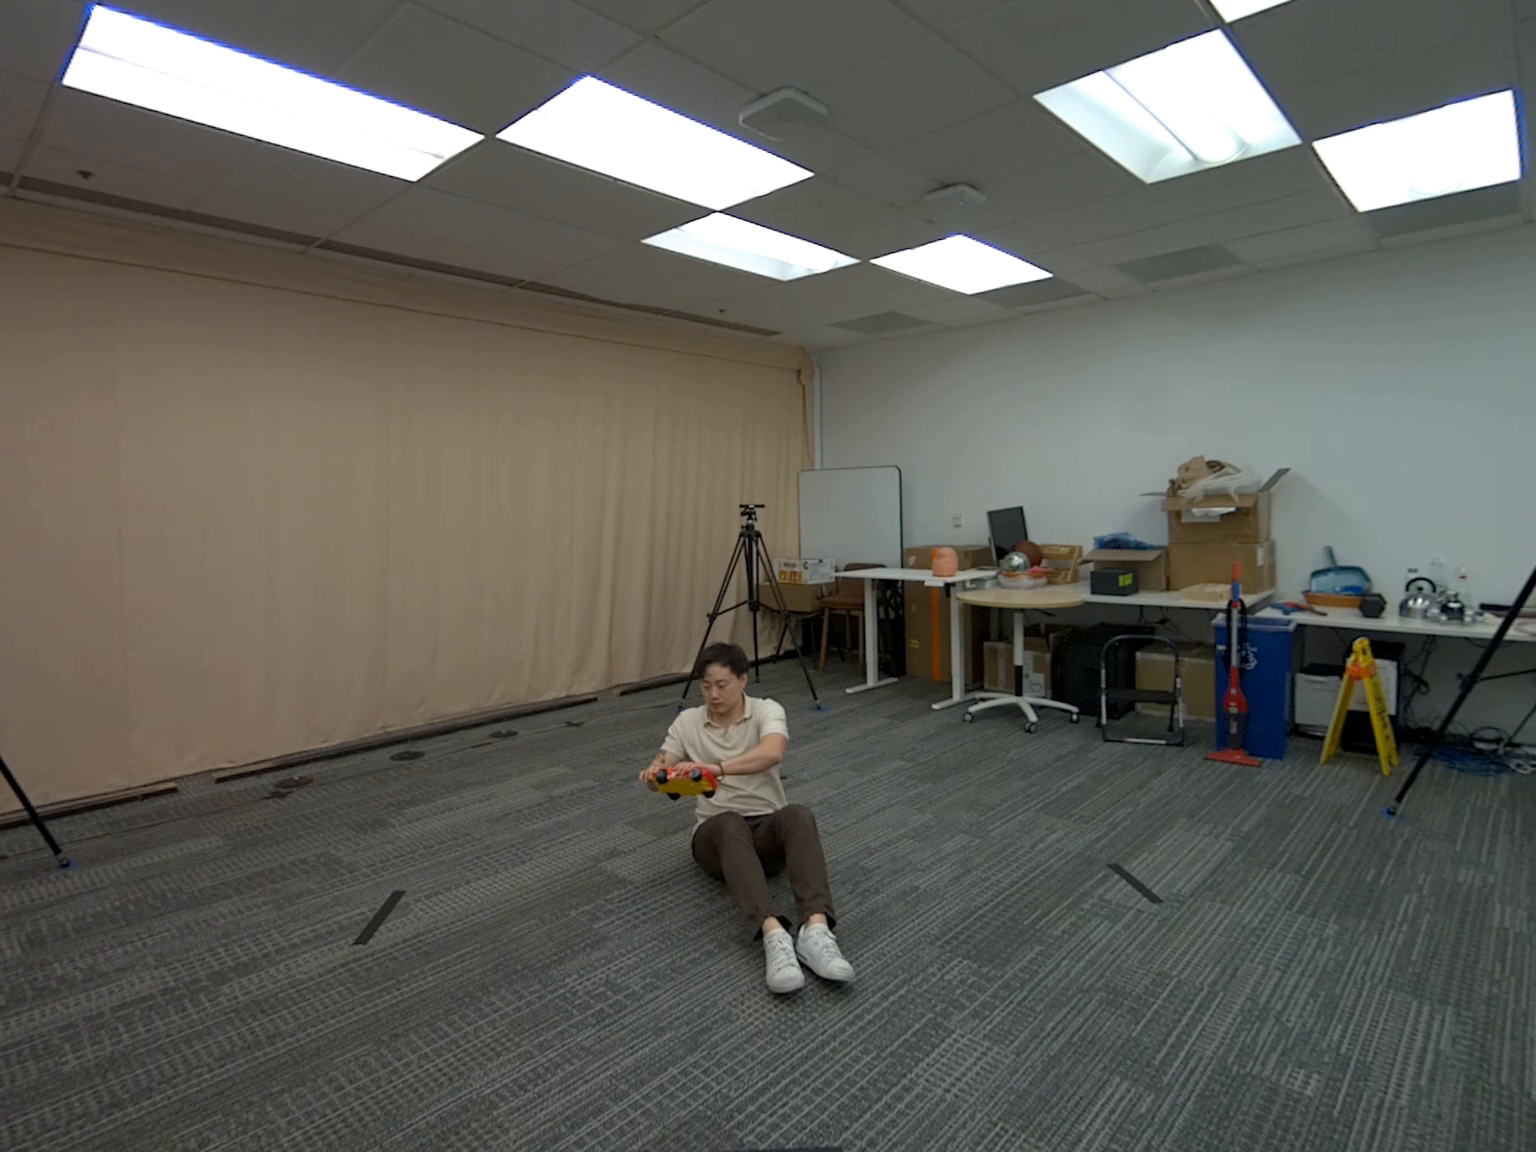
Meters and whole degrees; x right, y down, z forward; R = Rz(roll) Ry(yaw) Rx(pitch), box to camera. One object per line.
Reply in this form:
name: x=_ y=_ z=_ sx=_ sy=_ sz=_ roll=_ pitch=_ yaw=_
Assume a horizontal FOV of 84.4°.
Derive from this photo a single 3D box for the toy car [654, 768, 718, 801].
toy car: x=-0.283 y=0.714 z=2.892 sx=0.262 sy=0.127 sz=0.083 roll=-2 pitch=41 yaw=39
